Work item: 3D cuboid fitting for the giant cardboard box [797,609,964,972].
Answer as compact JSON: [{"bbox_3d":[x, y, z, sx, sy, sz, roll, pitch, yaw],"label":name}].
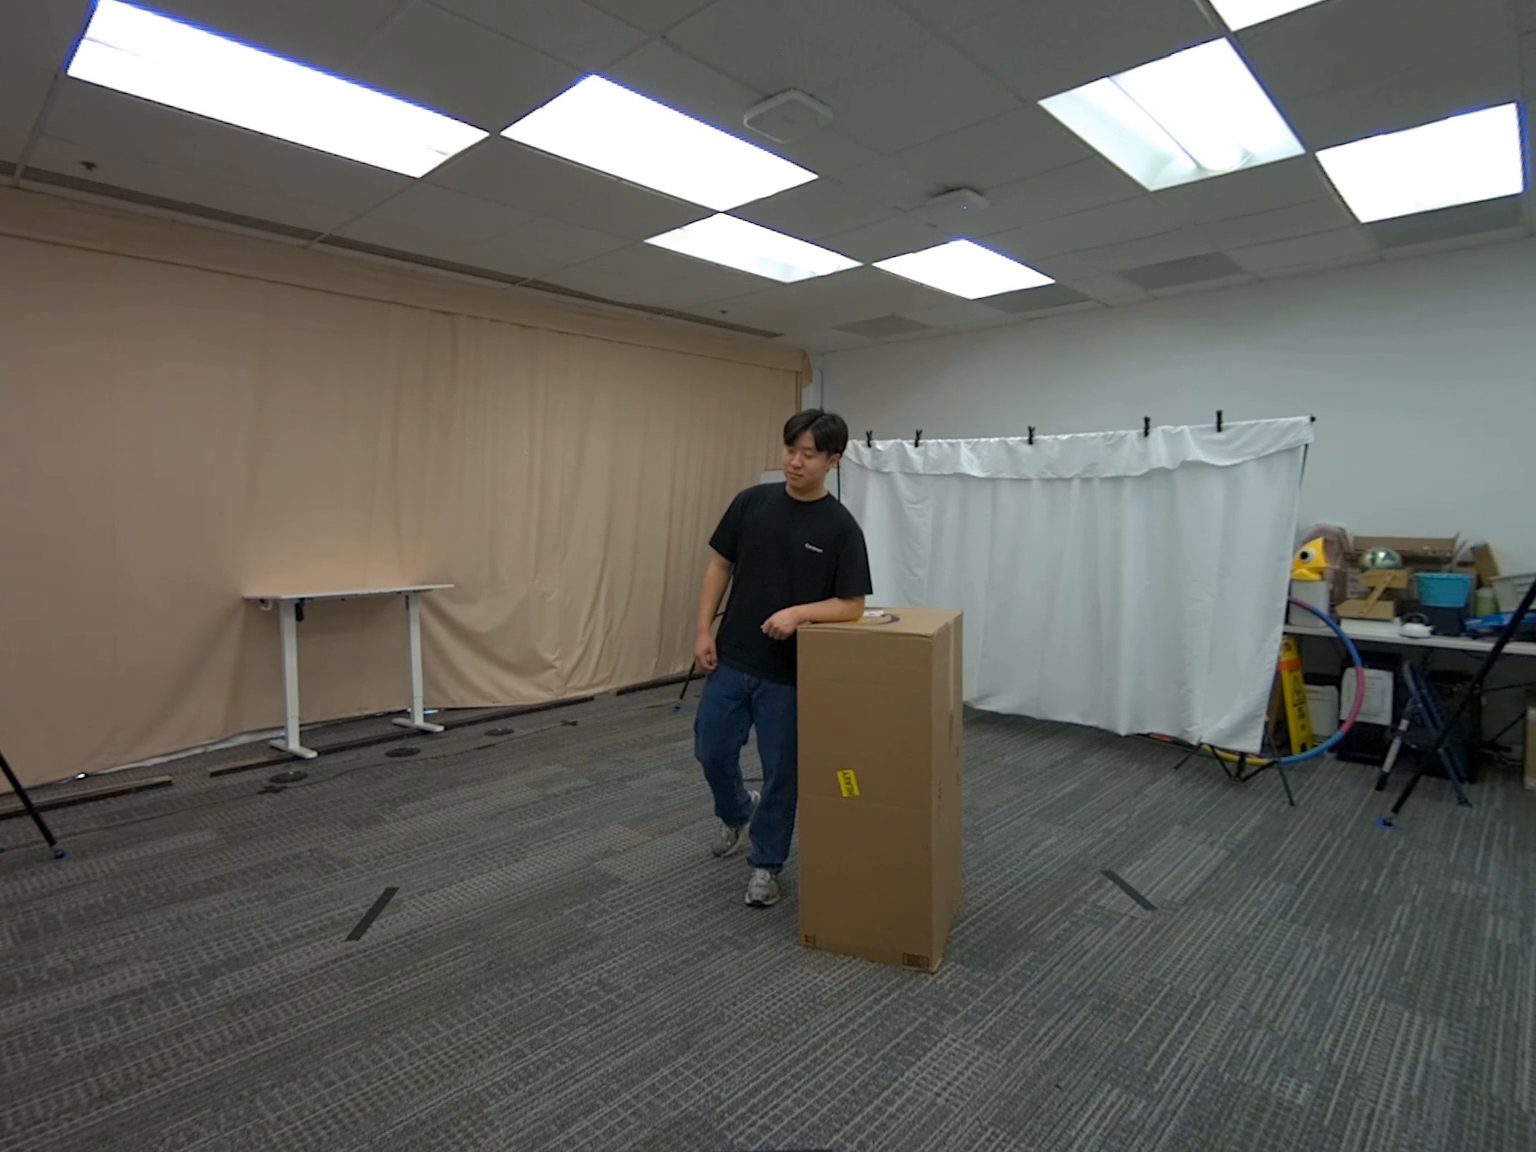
[{"bbox_3d":[0.399,0.645,2.813,0.458,1.025,0.571,0,3,24],"label":"giant cardboard box"}]
